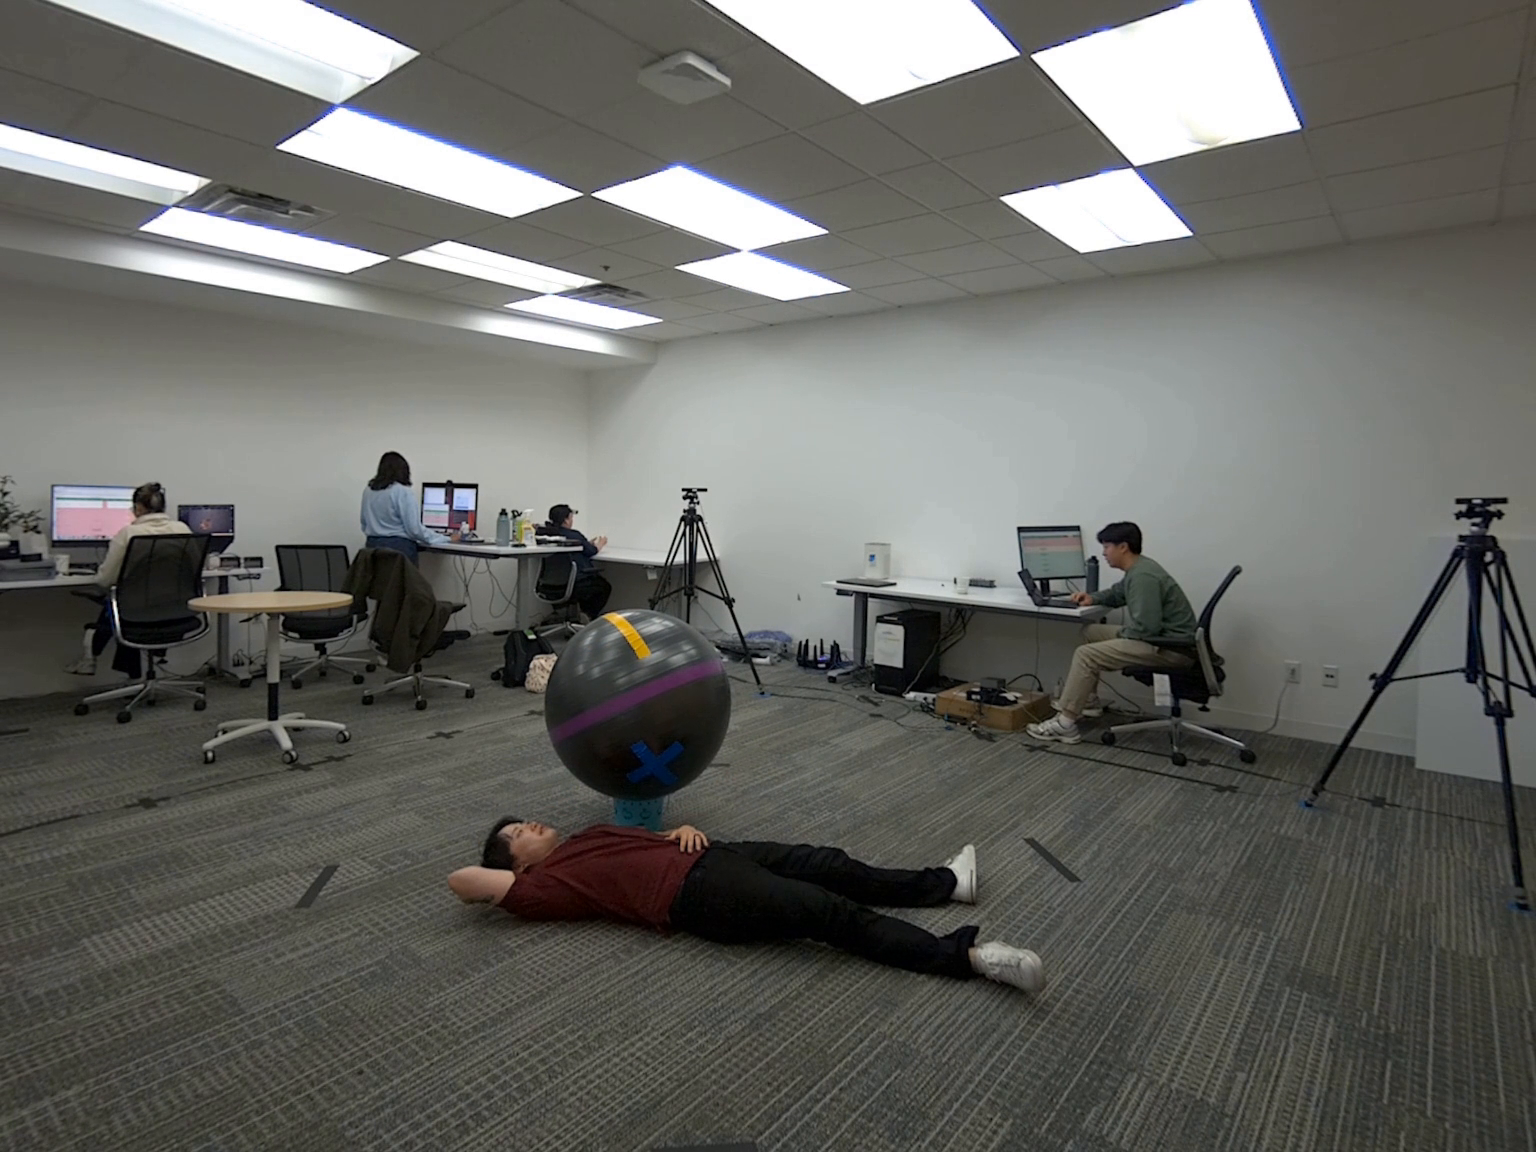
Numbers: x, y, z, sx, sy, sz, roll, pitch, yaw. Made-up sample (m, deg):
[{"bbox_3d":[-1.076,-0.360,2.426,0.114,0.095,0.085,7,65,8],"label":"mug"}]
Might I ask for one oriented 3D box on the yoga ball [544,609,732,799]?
[{"bbox_3d":[-0.546,0.520,3.466,0.757,0.755,0.762,1,4,-2],"label":"yoga ball"}]
